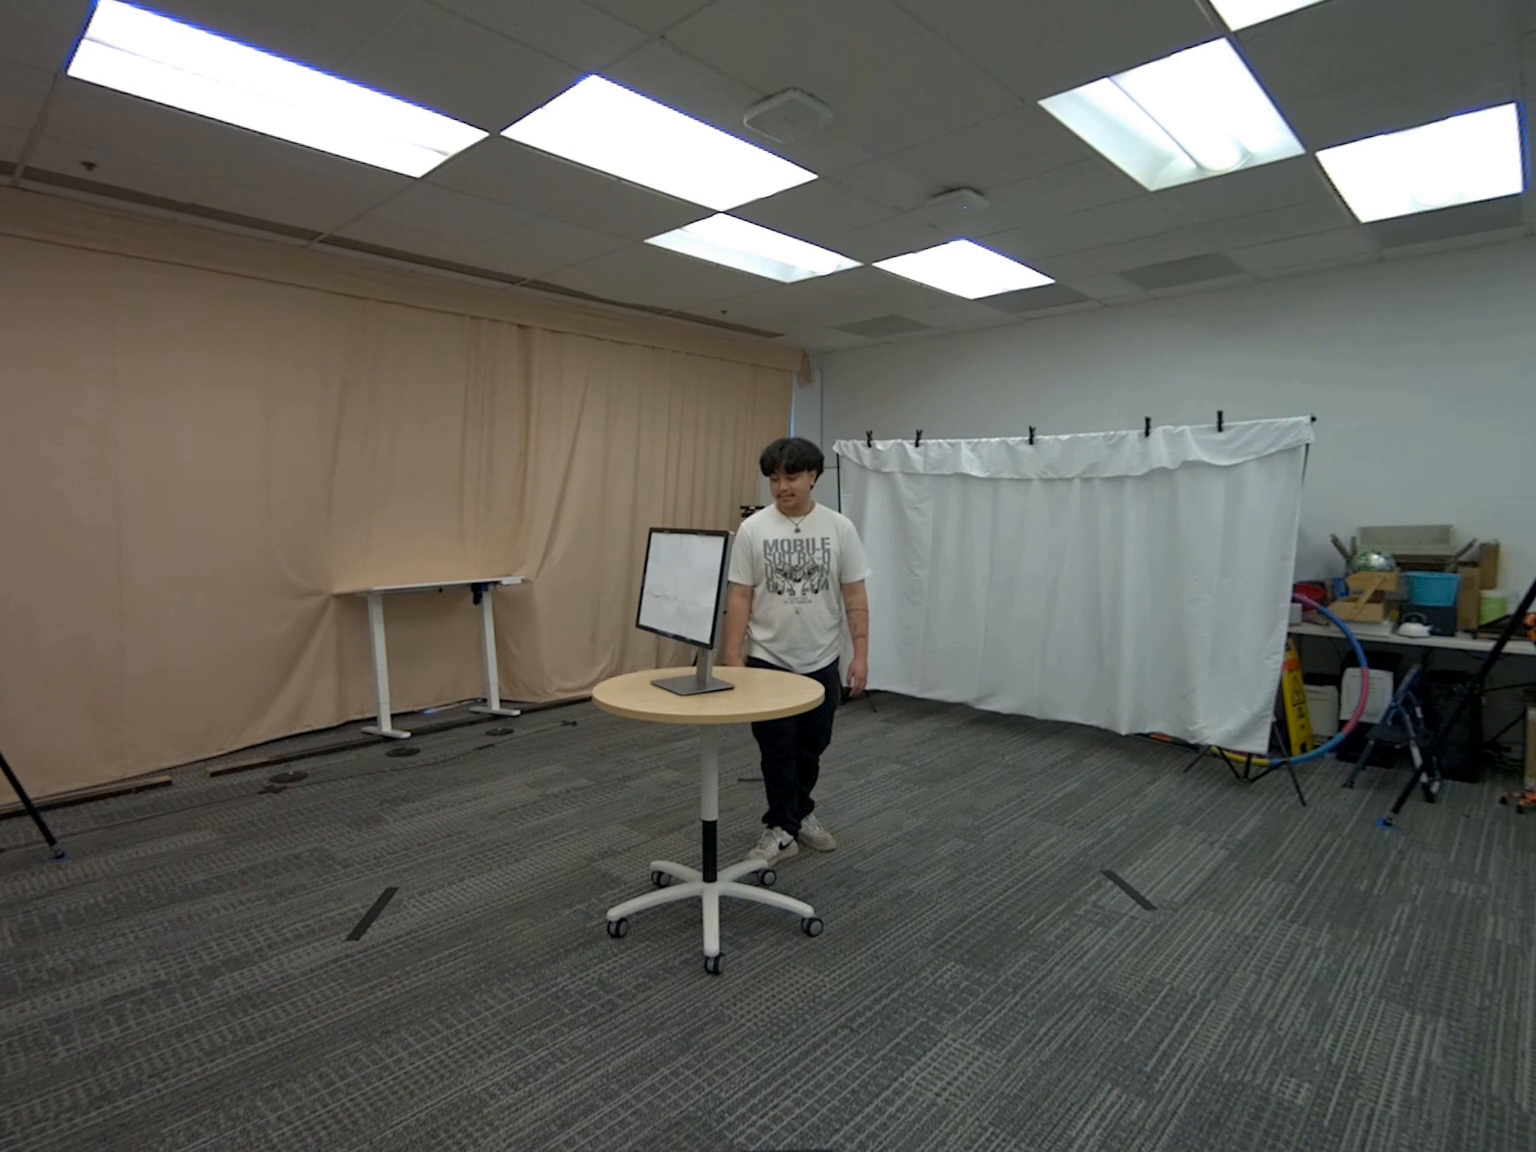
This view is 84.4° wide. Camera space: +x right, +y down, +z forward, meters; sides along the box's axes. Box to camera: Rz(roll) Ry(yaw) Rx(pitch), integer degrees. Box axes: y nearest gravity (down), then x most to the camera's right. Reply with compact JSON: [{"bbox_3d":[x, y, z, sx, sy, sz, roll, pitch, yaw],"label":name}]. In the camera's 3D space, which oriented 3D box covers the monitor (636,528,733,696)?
[{"bbox_3d":[-0.232,0.114,2.811,0.204,0.554,0.582,4,1,-33],"label":"monitor"}]
